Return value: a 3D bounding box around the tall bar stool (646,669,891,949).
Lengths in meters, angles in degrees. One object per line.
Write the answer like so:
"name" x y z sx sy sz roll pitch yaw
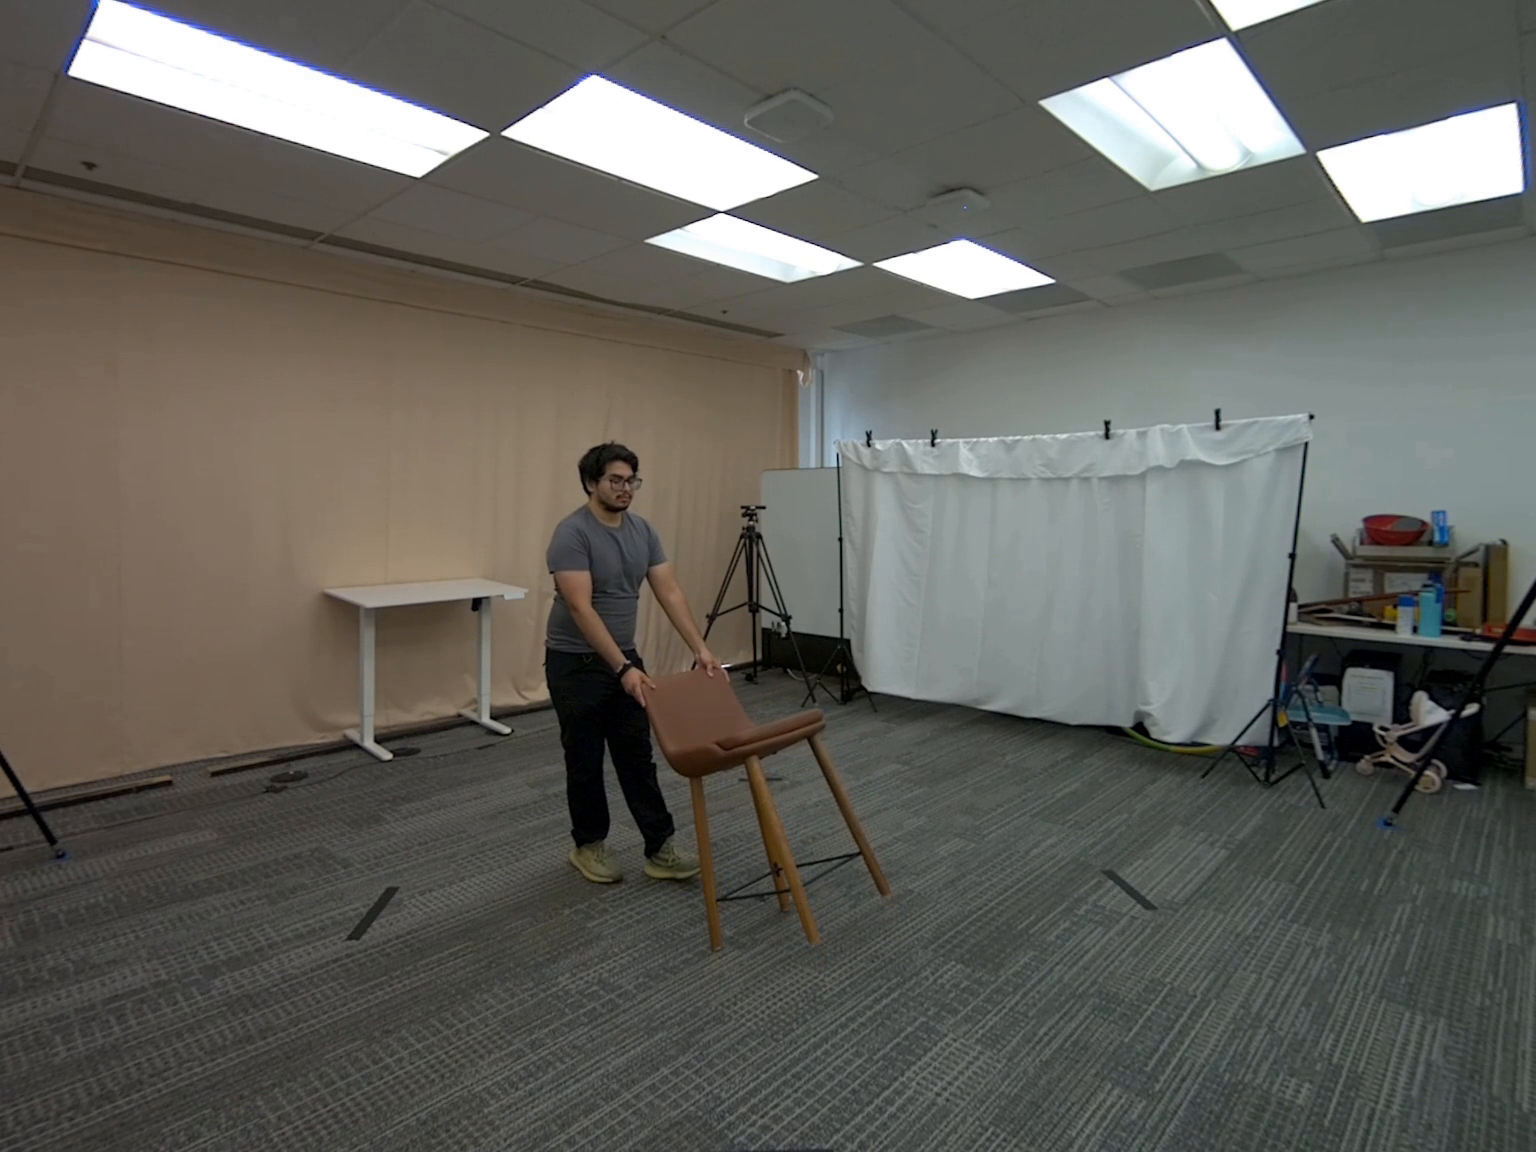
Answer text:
"tall bar stool" -0.037 0.680 2.737 0.476 0.901 0.442 -30 -17 39
